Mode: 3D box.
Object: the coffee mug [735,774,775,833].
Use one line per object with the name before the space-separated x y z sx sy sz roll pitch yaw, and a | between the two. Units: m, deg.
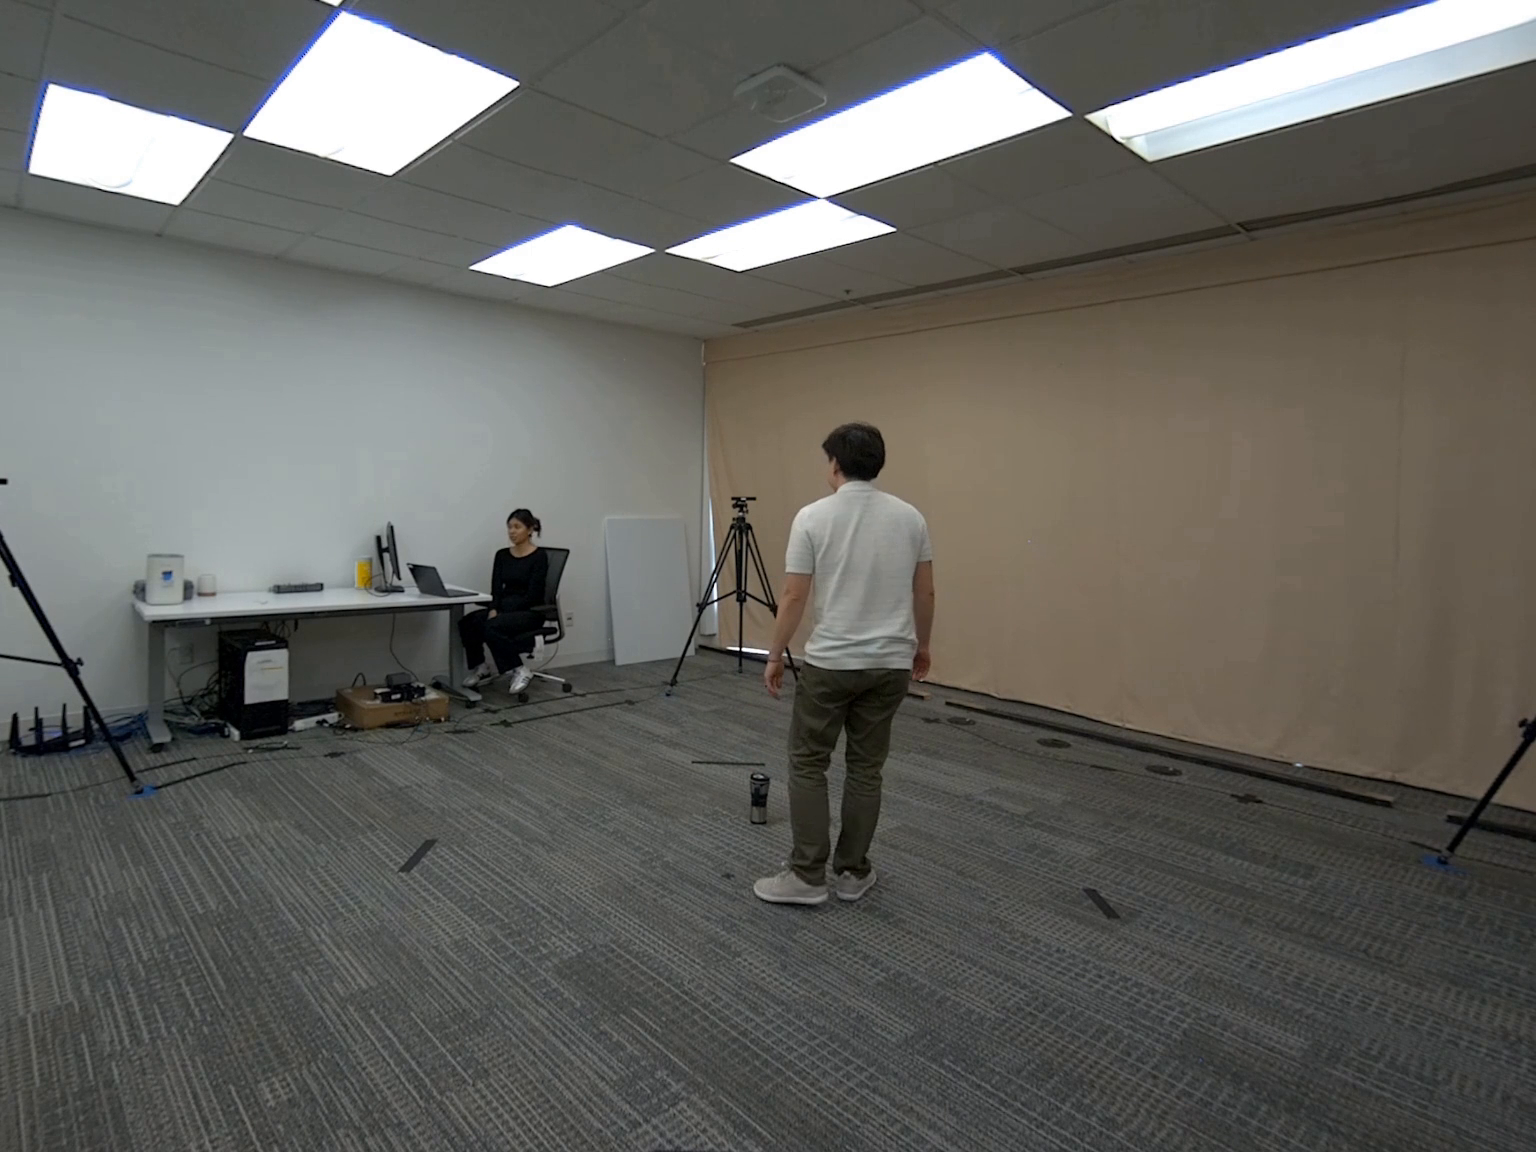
coffee mug | -0.058 0.968 3.621 0.090 0.202 0.119 9 3 41
